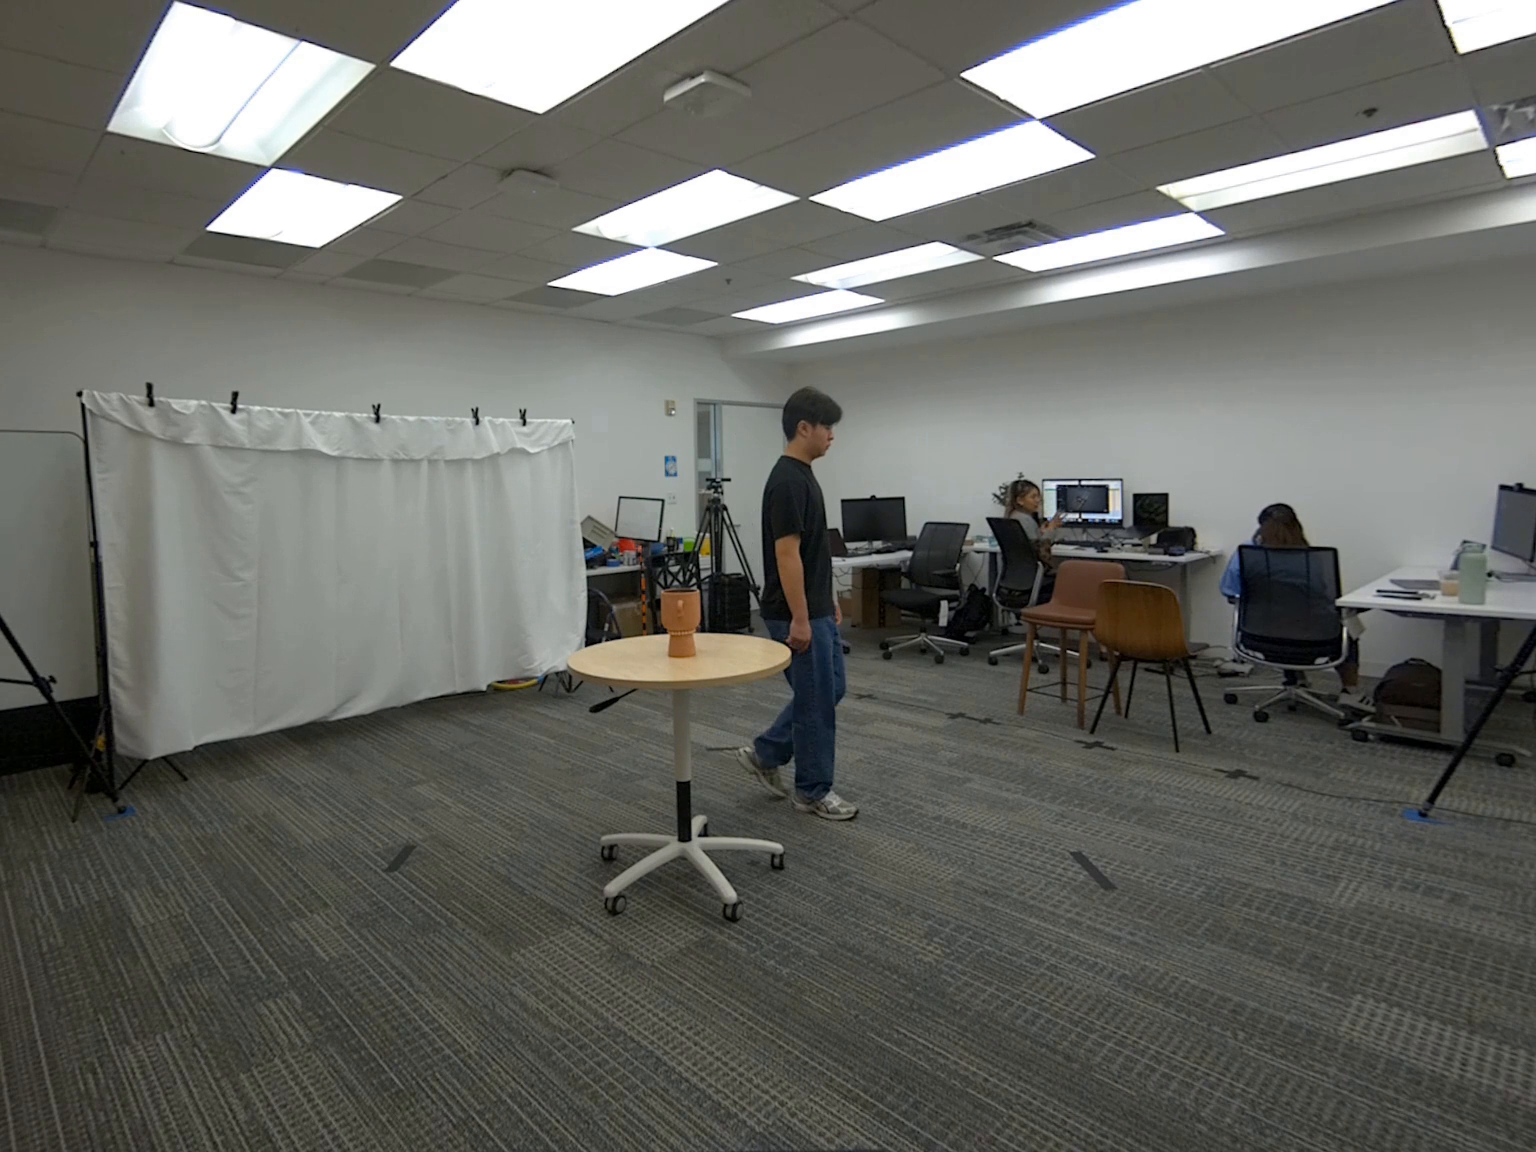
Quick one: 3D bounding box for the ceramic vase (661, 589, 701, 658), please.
[{"bbox_3d":[-0.292,0.162,2.917,0.138,0.219,0.155,2,6,36],"label":"ceramic vase"}]
